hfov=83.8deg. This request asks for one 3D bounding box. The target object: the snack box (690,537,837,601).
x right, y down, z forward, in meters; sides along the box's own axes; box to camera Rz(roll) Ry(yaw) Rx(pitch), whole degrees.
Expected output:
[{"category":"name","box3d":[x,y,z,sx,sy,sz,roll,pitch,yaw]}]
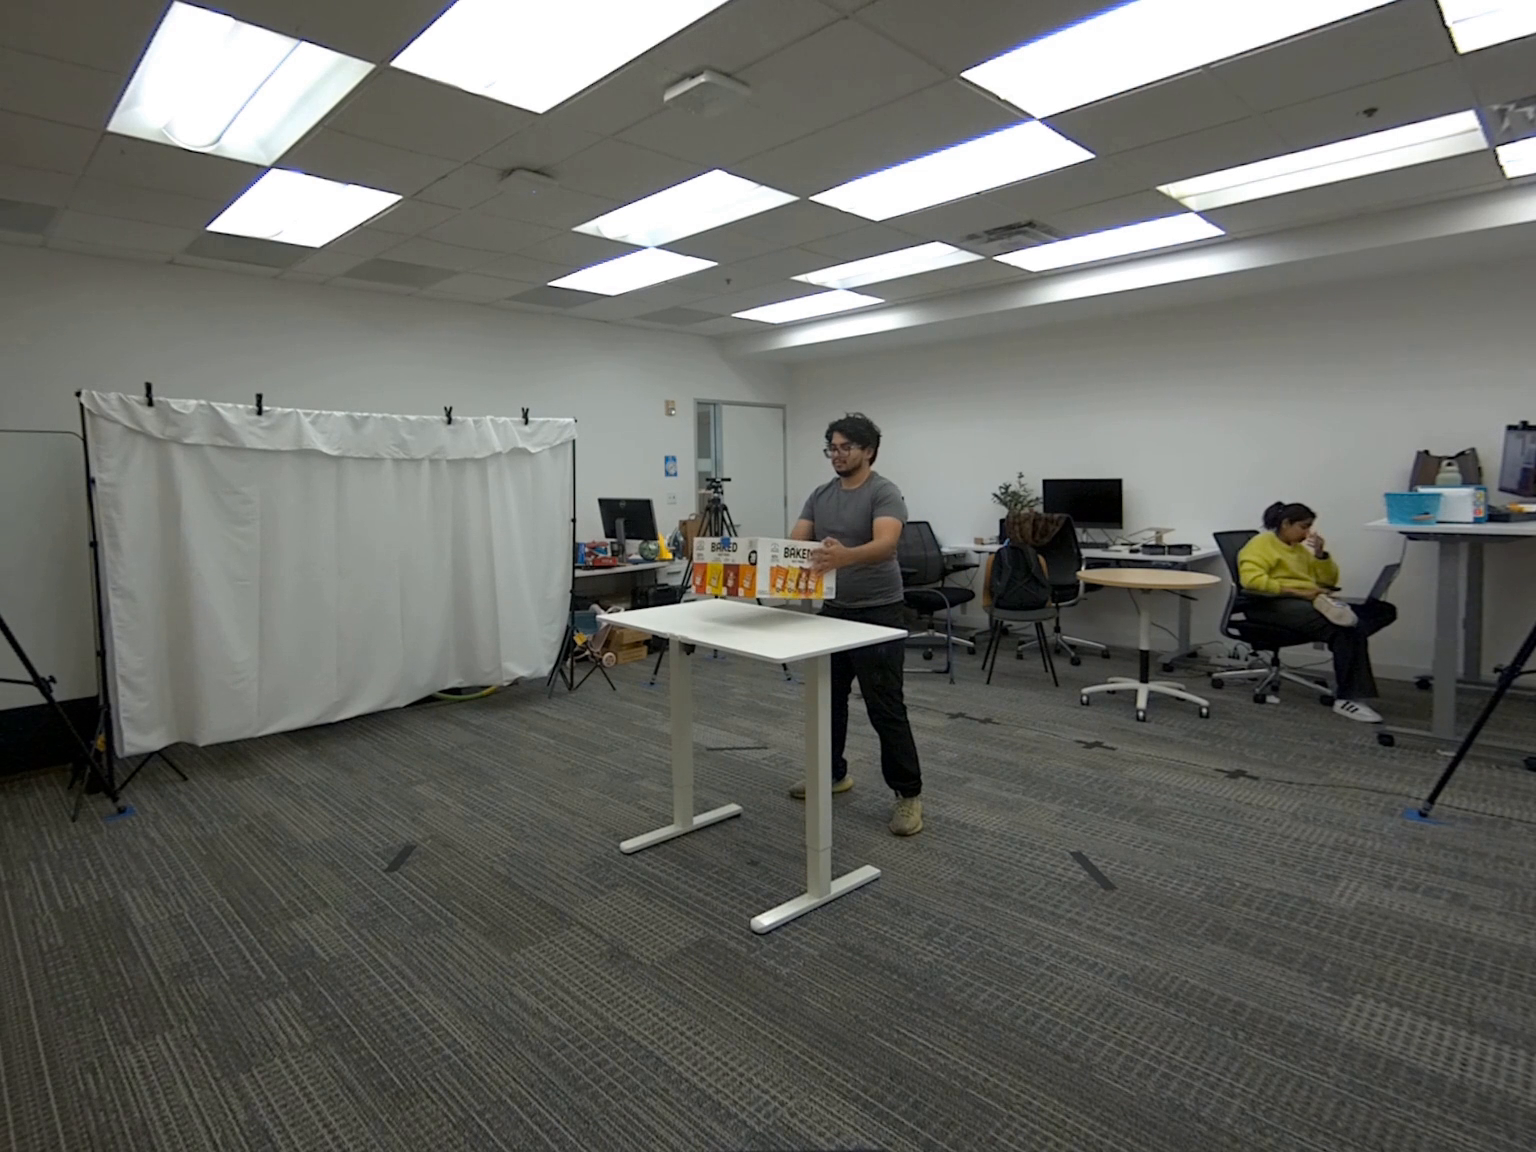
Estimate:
[{"category":"snack box","box3d":[-0.004,-0.026,3.095,0.393,0.206,0.350,3,-1,-44]}]
